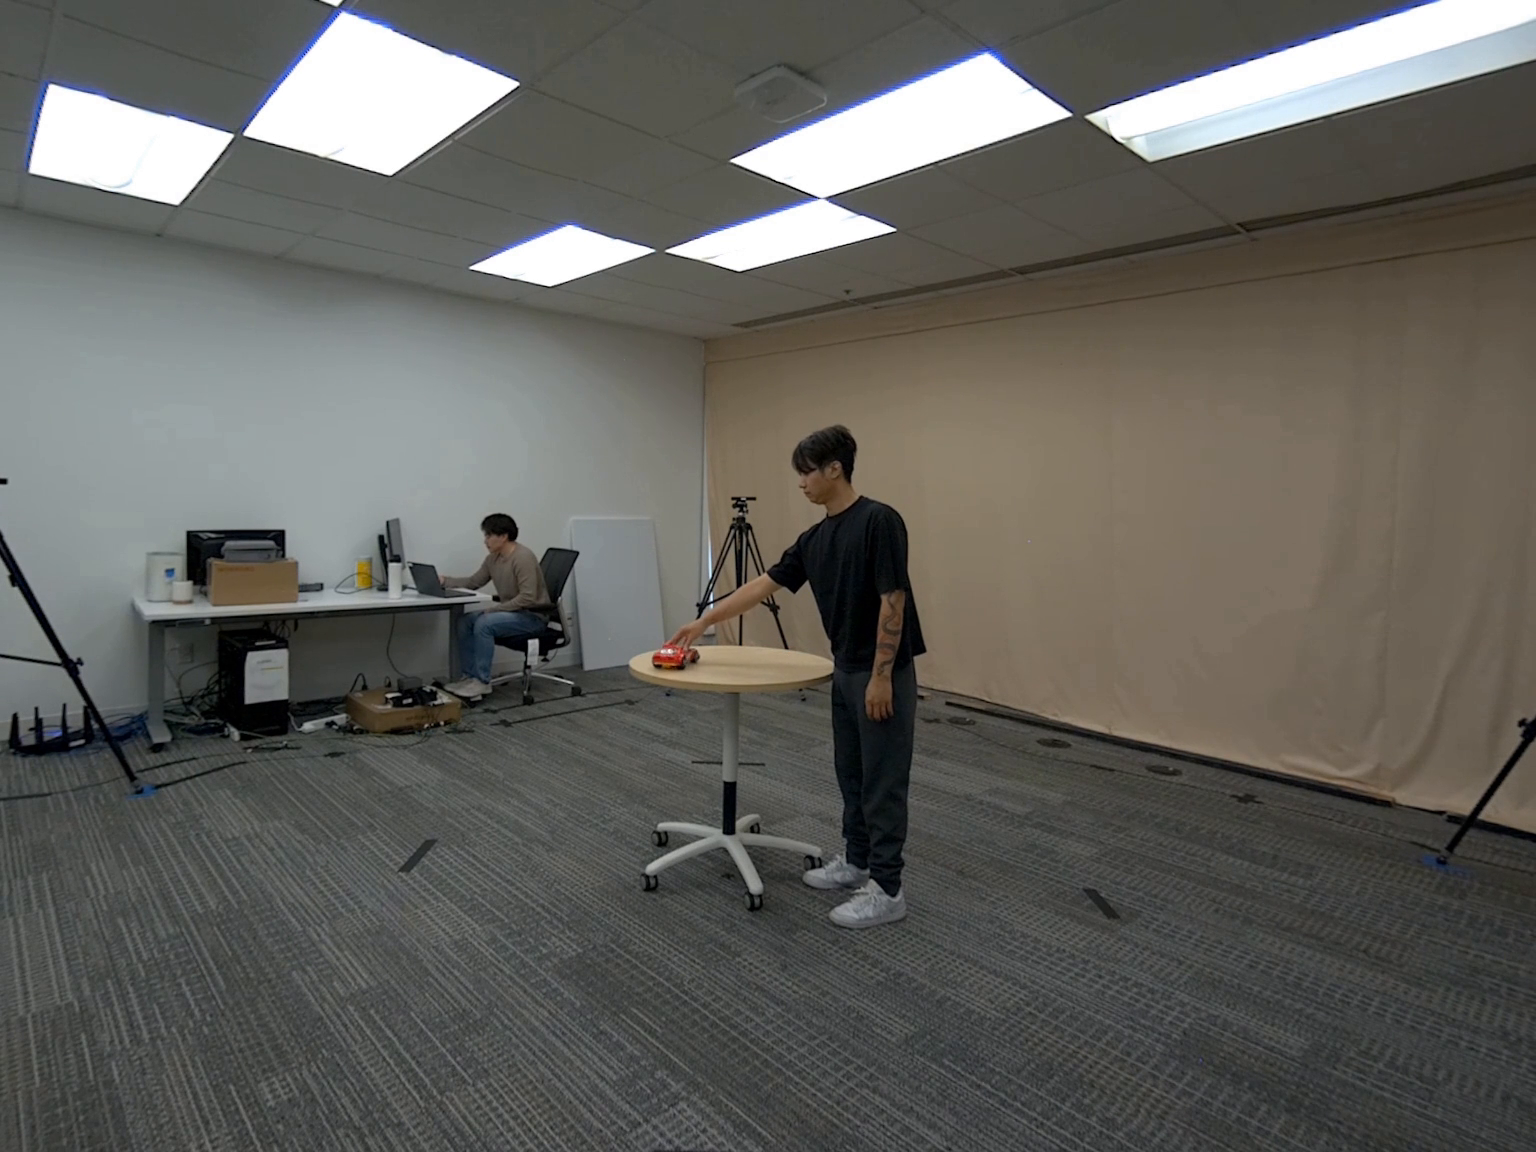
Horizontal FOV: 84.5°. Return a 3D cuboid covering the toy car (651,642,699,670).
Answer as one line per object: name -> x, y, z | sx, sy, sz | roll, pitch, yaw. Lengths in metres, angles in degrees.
toy car -> -0.339, 0.292, 3.032 | 0.132, 0.083, 0.250 | 3, -7, 14
